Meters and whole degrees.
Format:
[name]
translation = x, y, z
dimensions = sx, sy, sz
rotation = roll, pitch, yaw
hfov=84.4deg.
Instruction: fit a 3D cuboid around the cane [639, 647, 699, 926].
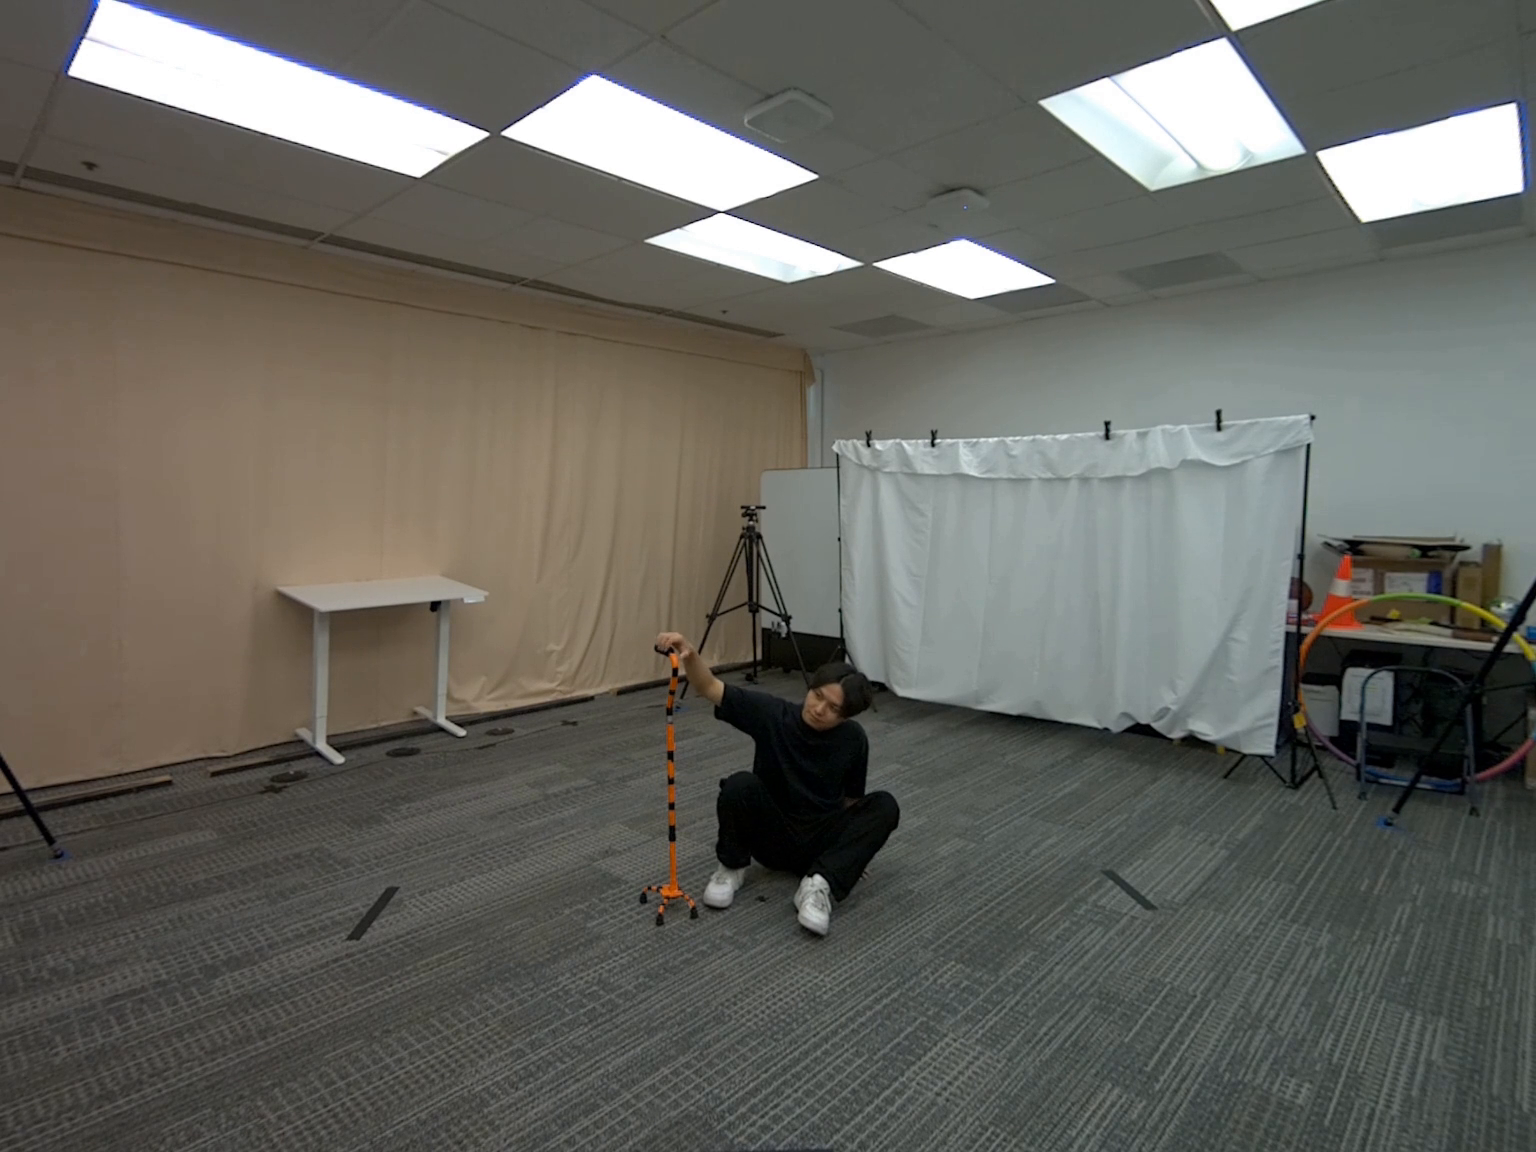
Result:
[cane]
translation = -0.348, 0.703, 2.886
dimensions = 0.148, 0.906, 0.212
rotation = -1, 4, -25
